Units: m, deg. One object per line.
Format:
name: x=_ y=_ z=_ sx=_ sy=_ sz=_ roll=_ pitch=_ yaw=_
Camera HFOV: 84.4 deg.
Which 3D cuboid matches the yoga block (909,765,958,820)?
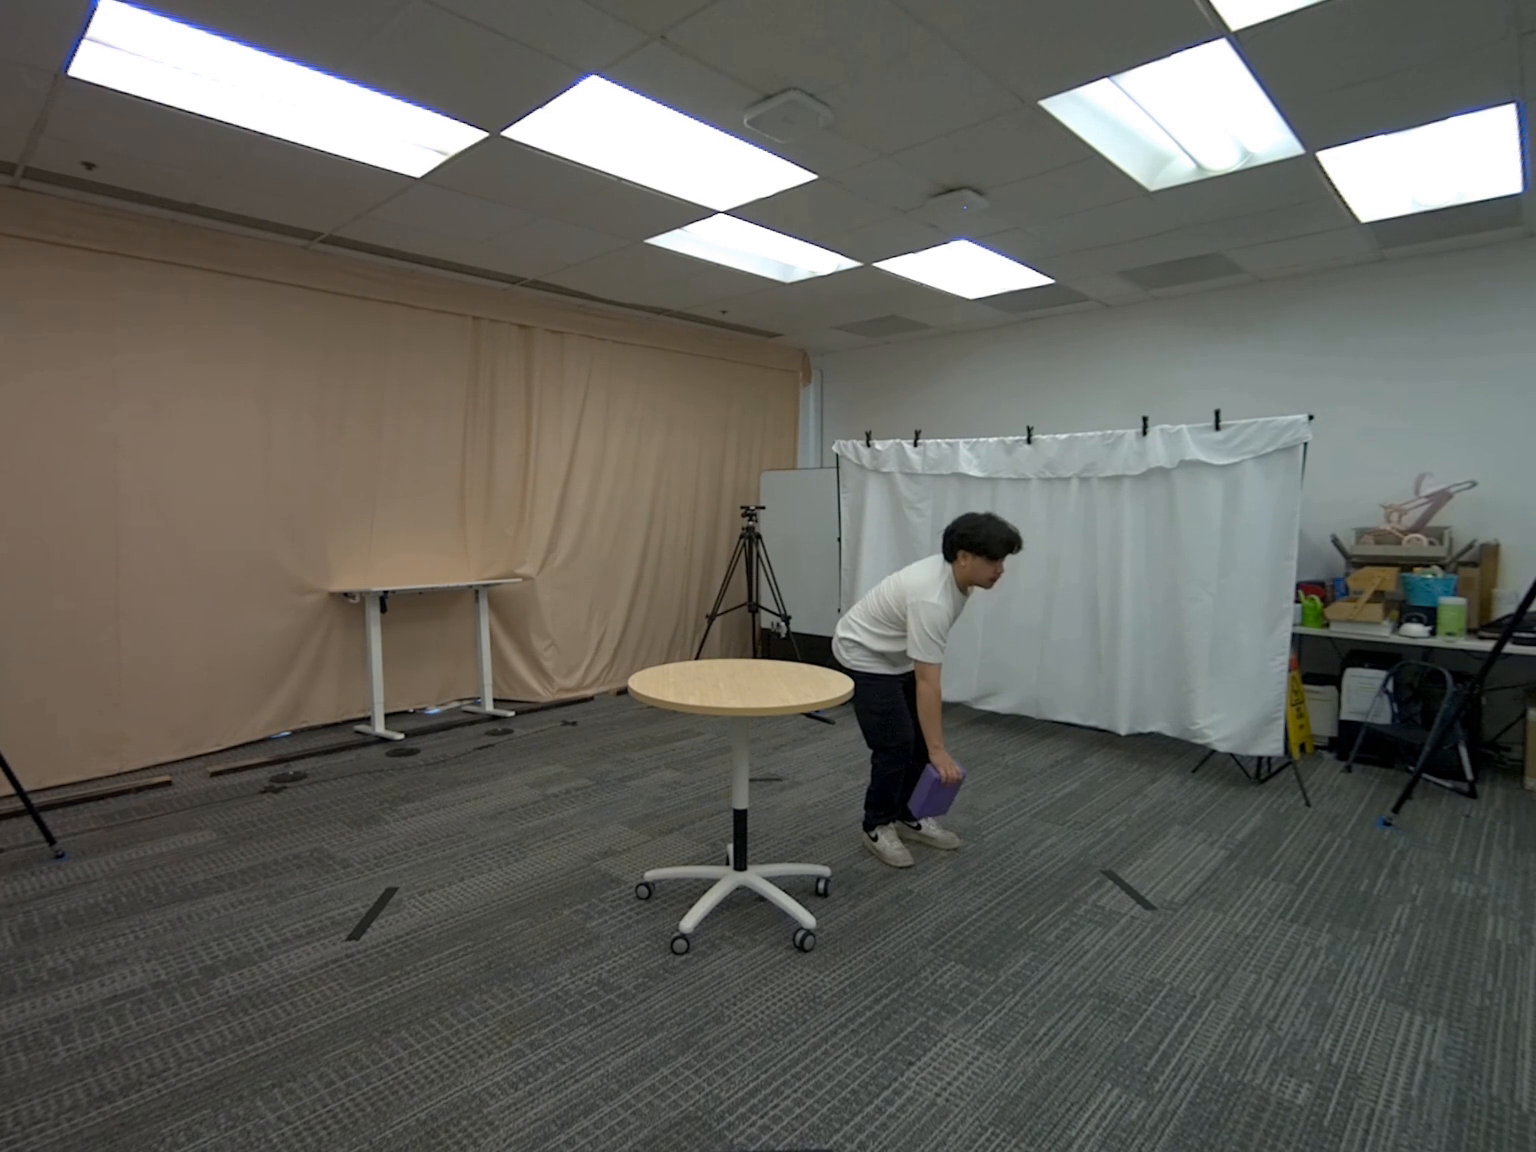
yoga block: x=0.632 y=0.800 z=3.167 sx=0.145 sy=0.227 sz=0.079 roll=0 pitch=33 yaw=-24
